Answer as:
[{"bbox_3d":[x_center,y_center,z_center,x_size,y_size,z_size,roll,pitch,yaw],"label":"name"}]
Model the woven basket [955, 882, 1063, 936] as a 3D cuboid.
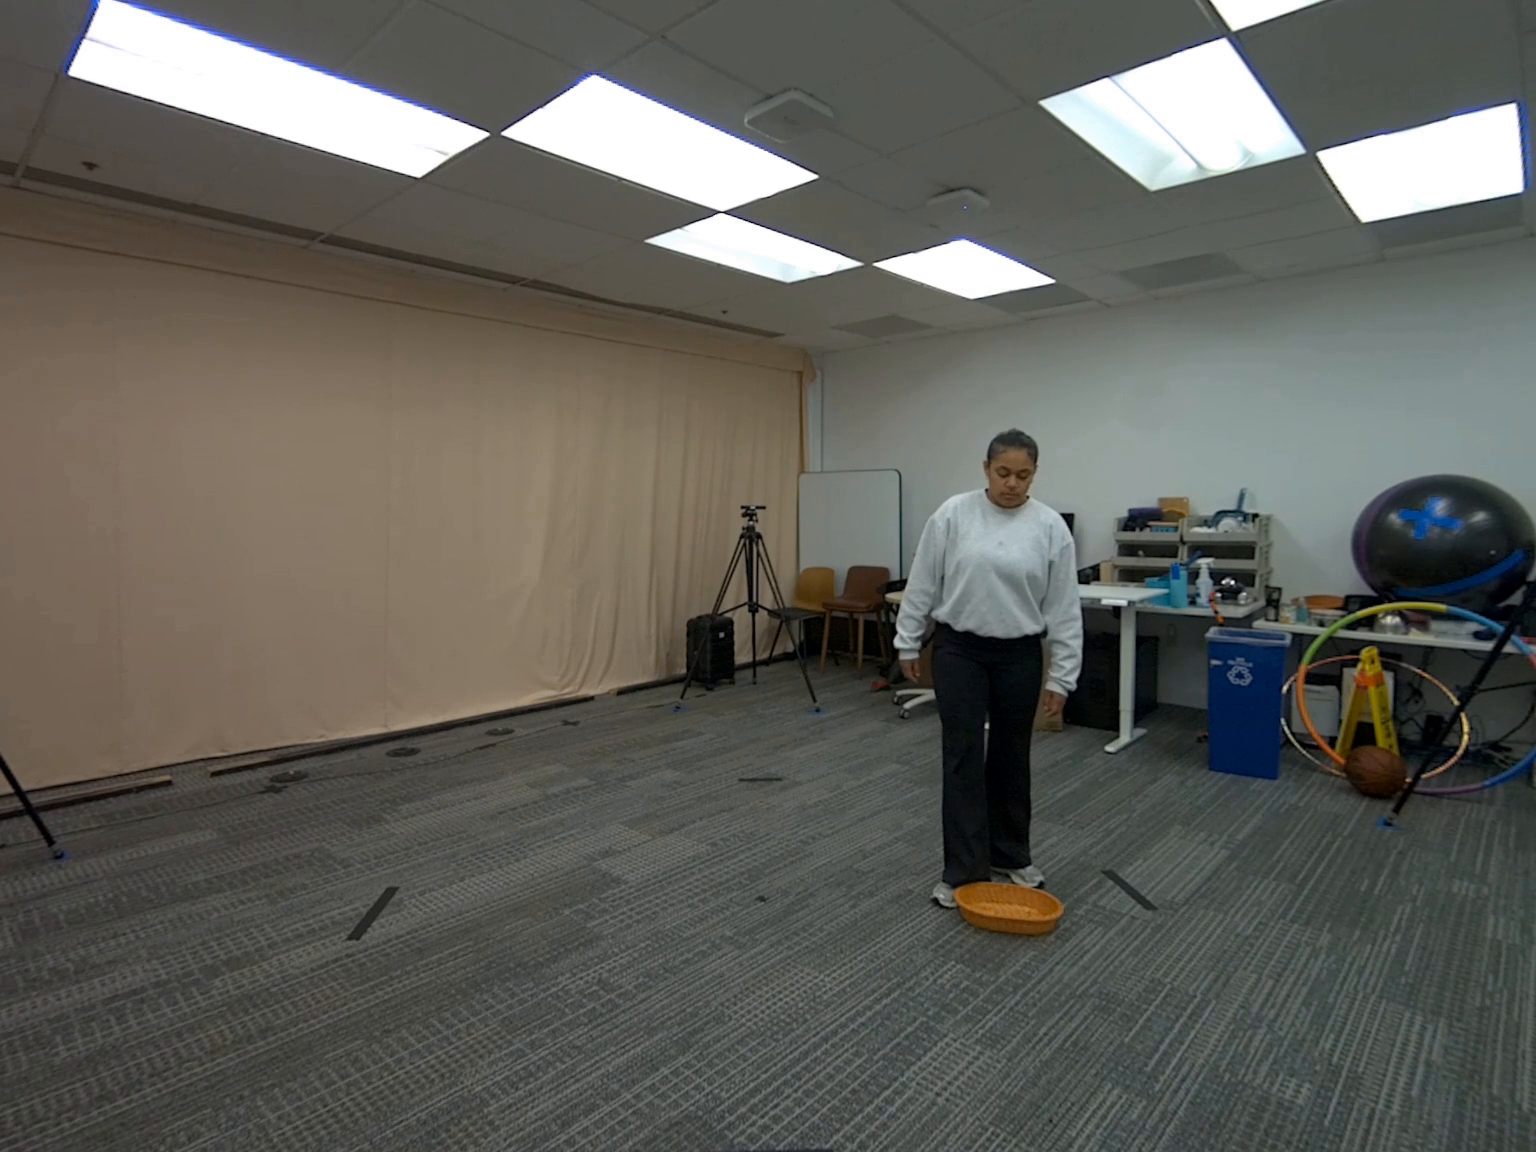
[{"bbox_3d":[0.806,1.113,2.822,0.357,0.073,0.248,1,4,16],"label":"woven basket"}]
